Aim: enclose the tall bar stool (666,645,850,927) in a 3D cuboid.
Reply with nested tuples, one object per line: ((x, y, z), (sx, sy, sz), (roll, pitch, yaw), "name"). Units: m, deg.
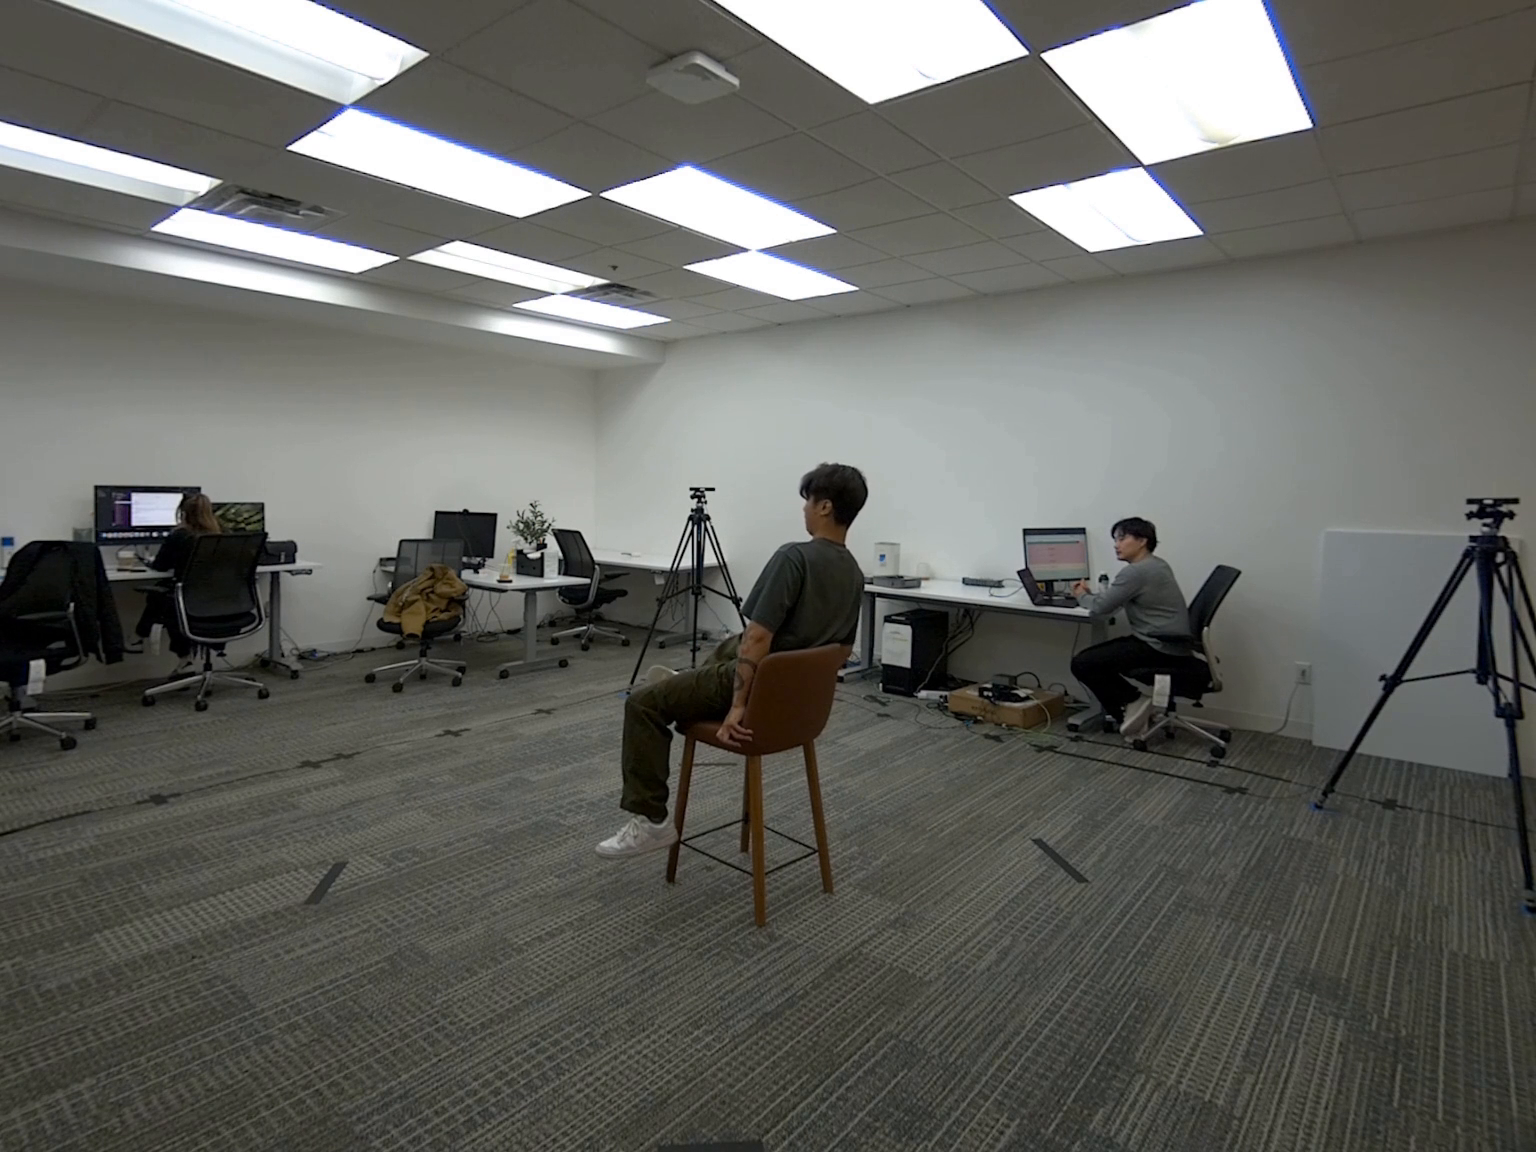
((-0.056, 0.650, 2.953), (0.484, 0.886, 0.442), (7, 6, 44), "tall bar stool")
